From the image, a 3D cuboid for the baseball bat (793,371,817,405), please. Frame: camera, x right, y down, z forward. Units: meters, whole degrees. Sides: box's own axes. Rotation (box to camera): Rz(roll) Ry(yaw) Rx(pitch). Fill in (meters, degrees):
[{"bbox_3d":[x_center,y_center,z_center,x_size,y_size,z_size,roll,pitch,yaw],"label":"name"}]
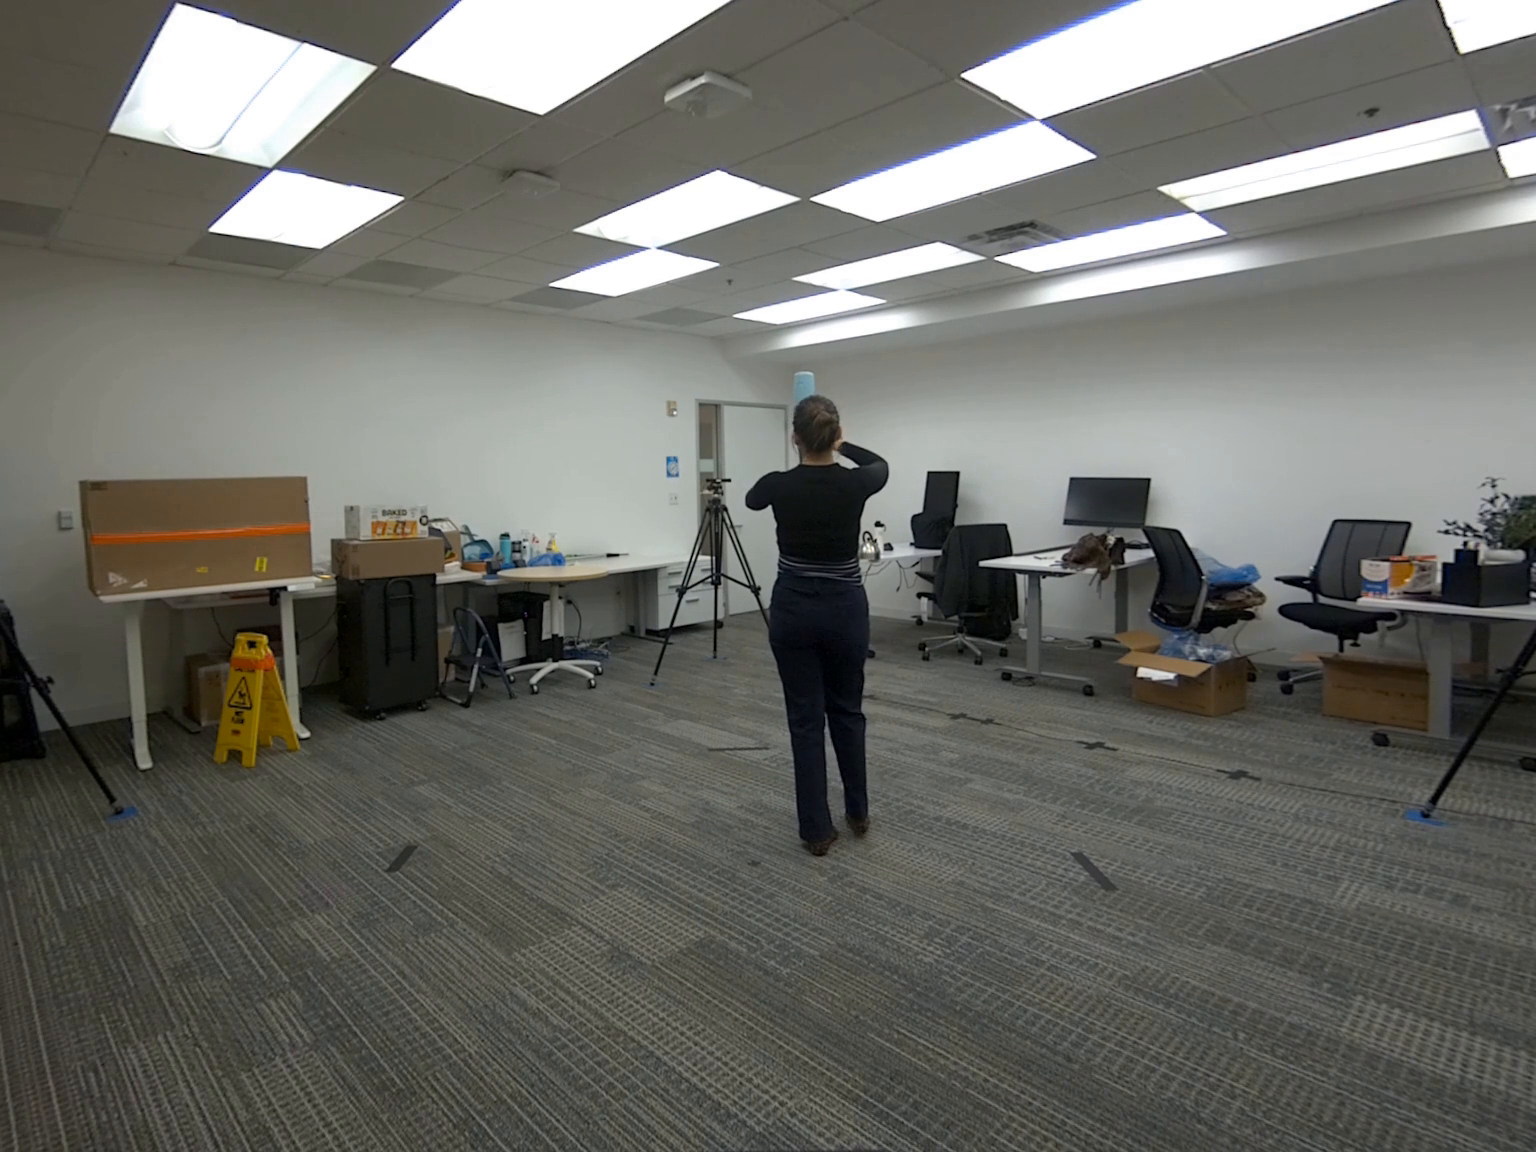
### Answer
[{"bbox_3d":[0.160,-0.601,3.650,0.089,0.541,0.089,1,3,-2],"label":"baseball bat"}]
